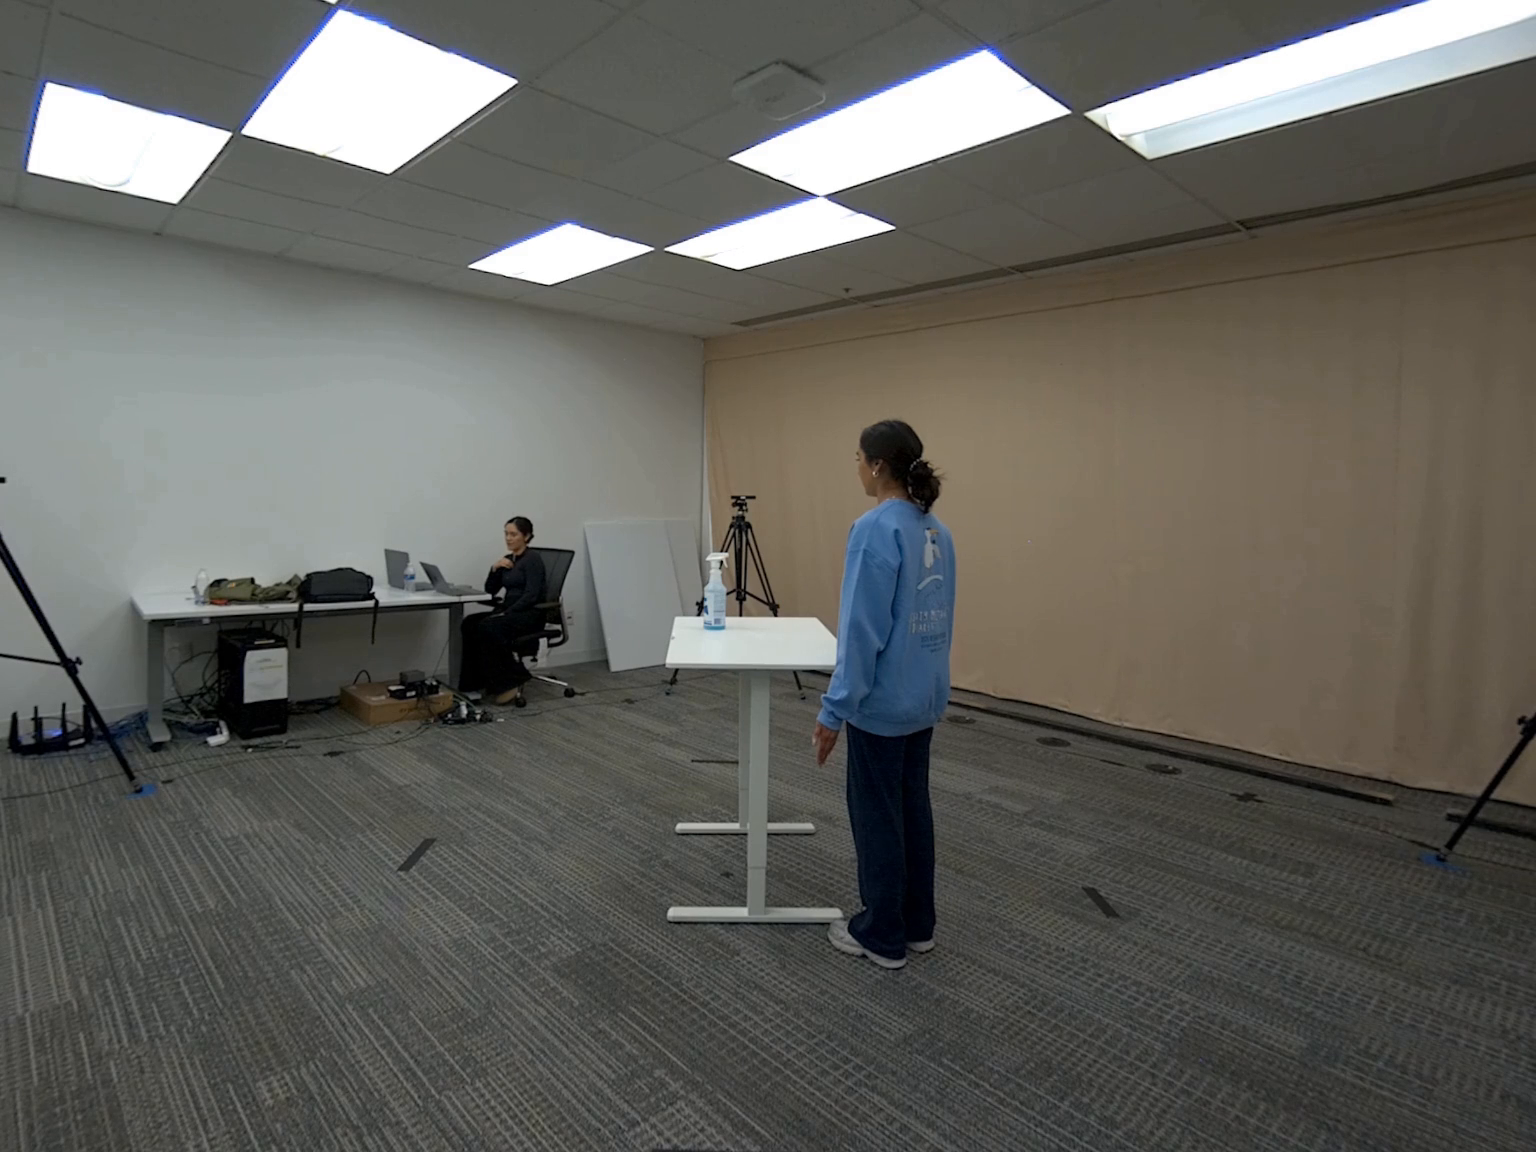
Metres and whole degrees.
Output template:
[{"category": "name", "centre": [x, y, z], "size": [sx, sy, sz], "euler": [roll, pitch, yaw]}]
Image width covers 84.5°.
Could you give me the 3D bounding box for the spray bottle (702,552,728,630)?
[{"category": "spray bottle", "centre": [-0.212, 0.060, 3.267], "size": [0.092, 0.297, 0.085], "euler": [3, 2, 43]}]
